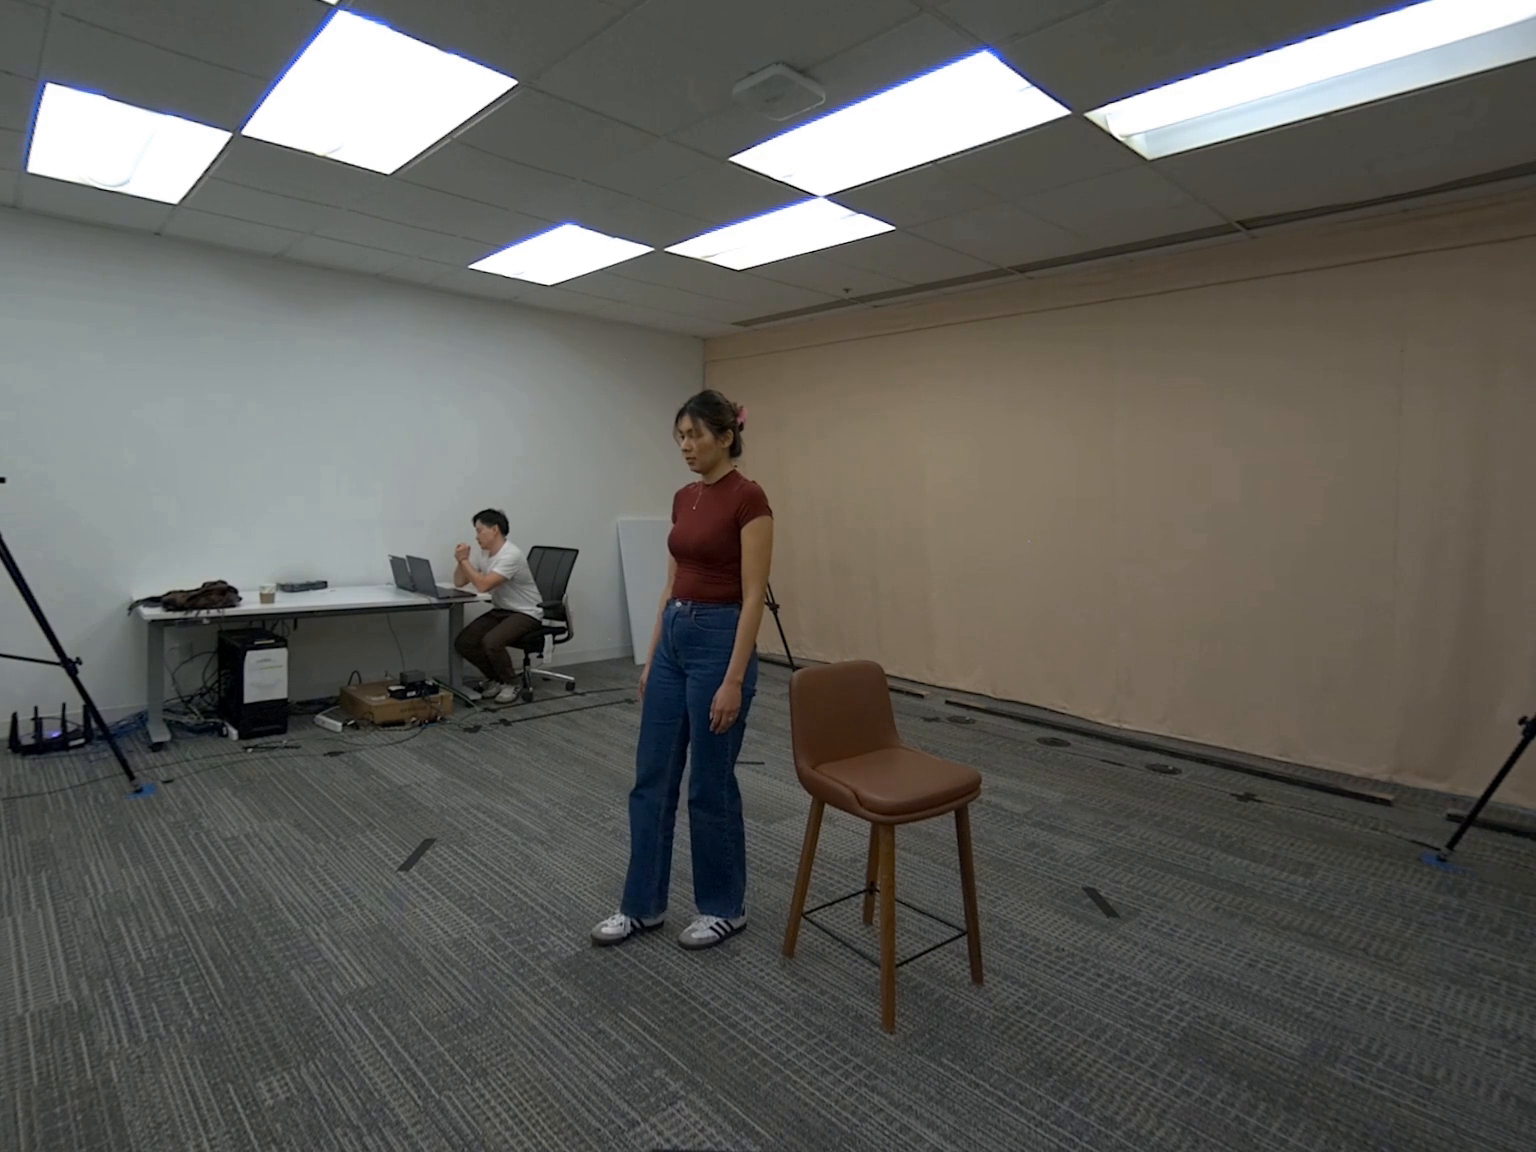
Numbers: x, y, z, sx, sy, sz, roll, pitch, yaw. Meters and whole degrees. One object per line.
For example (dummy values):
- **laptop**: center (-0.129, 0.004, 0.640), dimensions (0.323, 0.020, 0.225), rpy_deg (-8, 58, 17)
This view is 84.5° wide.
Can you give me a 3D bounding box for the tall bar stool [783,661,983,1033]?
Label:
- **tall bar stool**: center (0.330, 0.736, 2.476), dimensions (0.446, 0.888, 0.479), rpy_deg (-1, 3, -38)
